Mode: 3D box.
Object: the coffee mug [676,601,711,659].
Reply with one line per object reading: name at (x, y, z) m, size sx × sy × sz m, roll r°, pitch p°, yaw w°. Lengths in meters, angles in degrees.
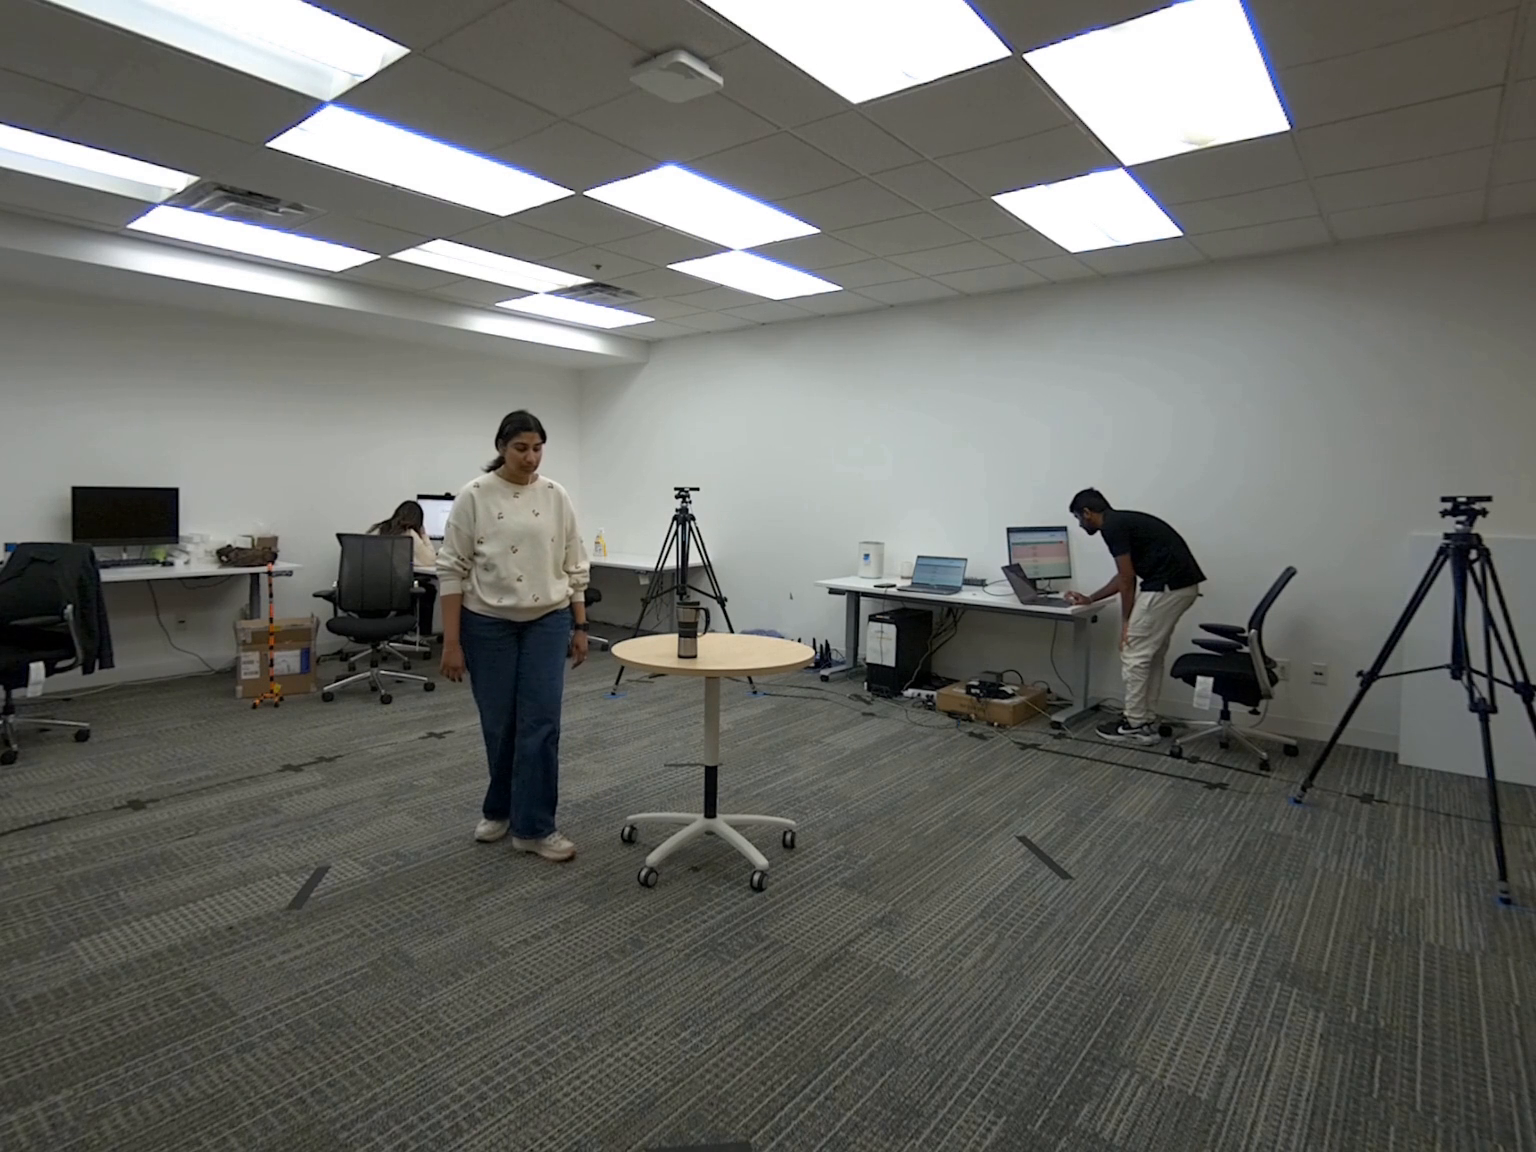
coffee mug at (-0.282, 0.188, 3.019) m, size 0.085 × 0.203 × 0.126 m, roll 4°, pitch -2°, yaw -44°
